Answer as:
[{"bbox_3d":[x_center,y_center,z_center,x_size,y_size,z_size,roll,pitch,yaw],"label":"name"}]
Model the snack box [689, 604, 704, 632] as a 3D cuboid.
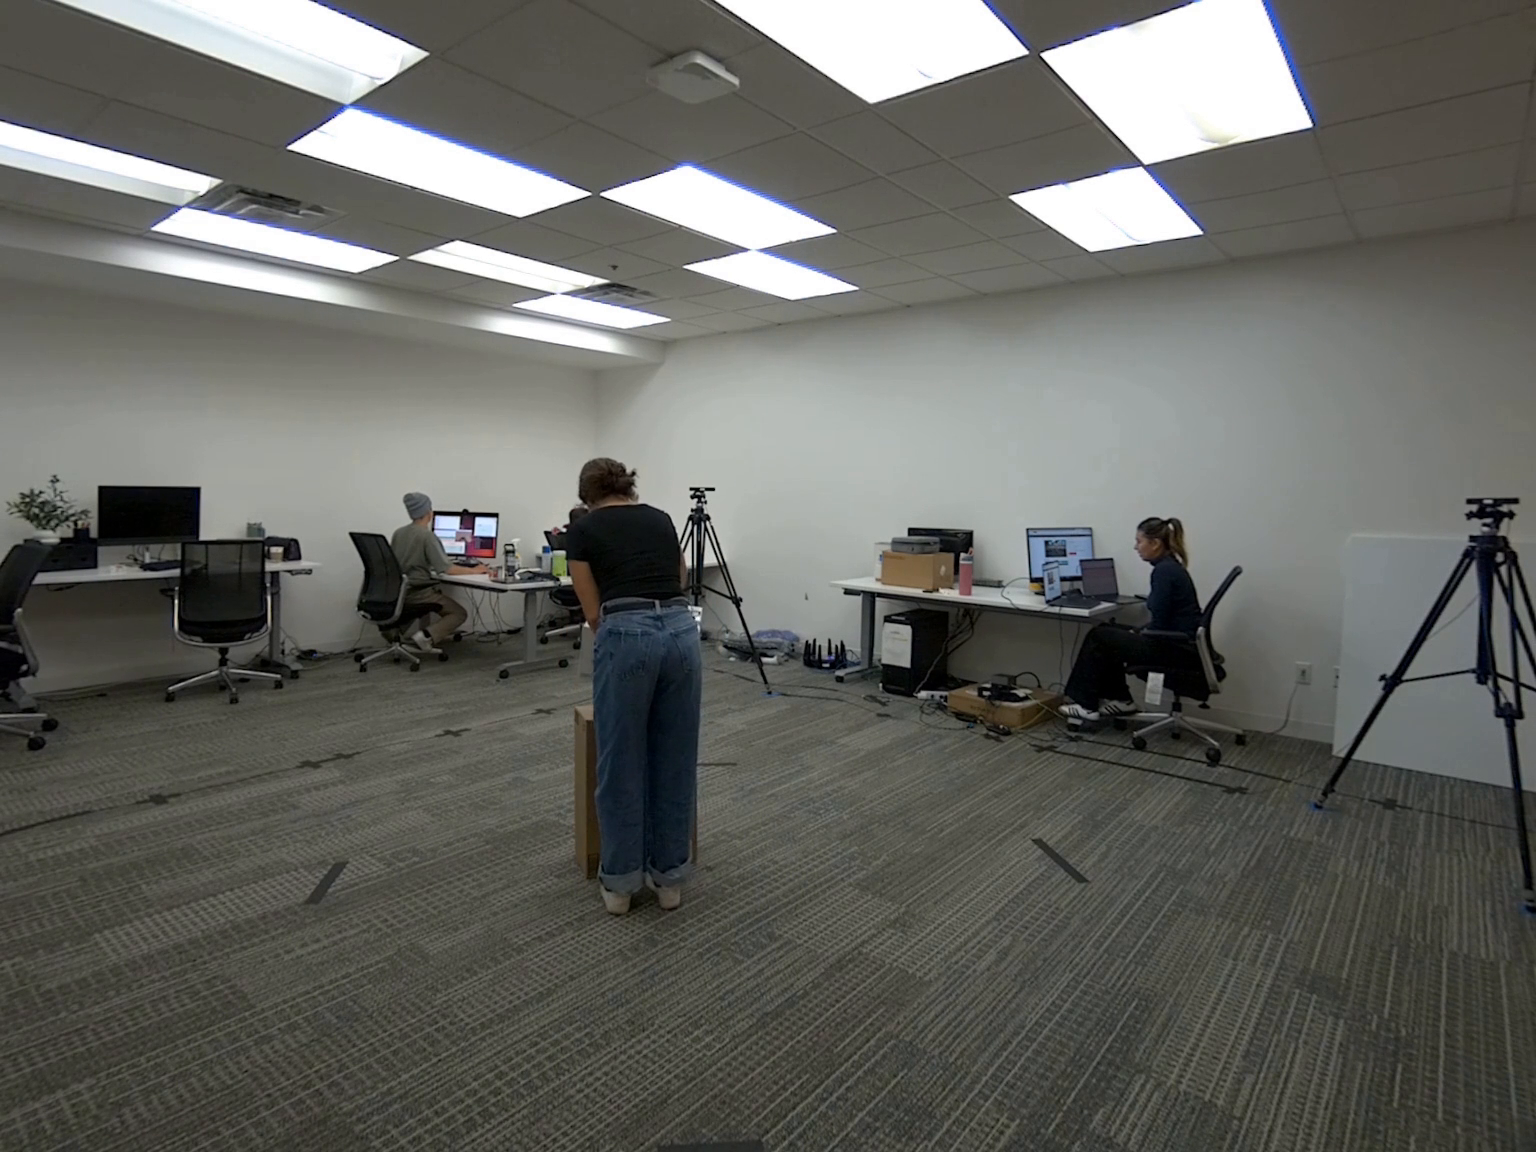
[{"bbox_3d":[-0.465,0.239,3.122,0.405,0.203,0.345,7,16,-2],"label":"snack box"}]
